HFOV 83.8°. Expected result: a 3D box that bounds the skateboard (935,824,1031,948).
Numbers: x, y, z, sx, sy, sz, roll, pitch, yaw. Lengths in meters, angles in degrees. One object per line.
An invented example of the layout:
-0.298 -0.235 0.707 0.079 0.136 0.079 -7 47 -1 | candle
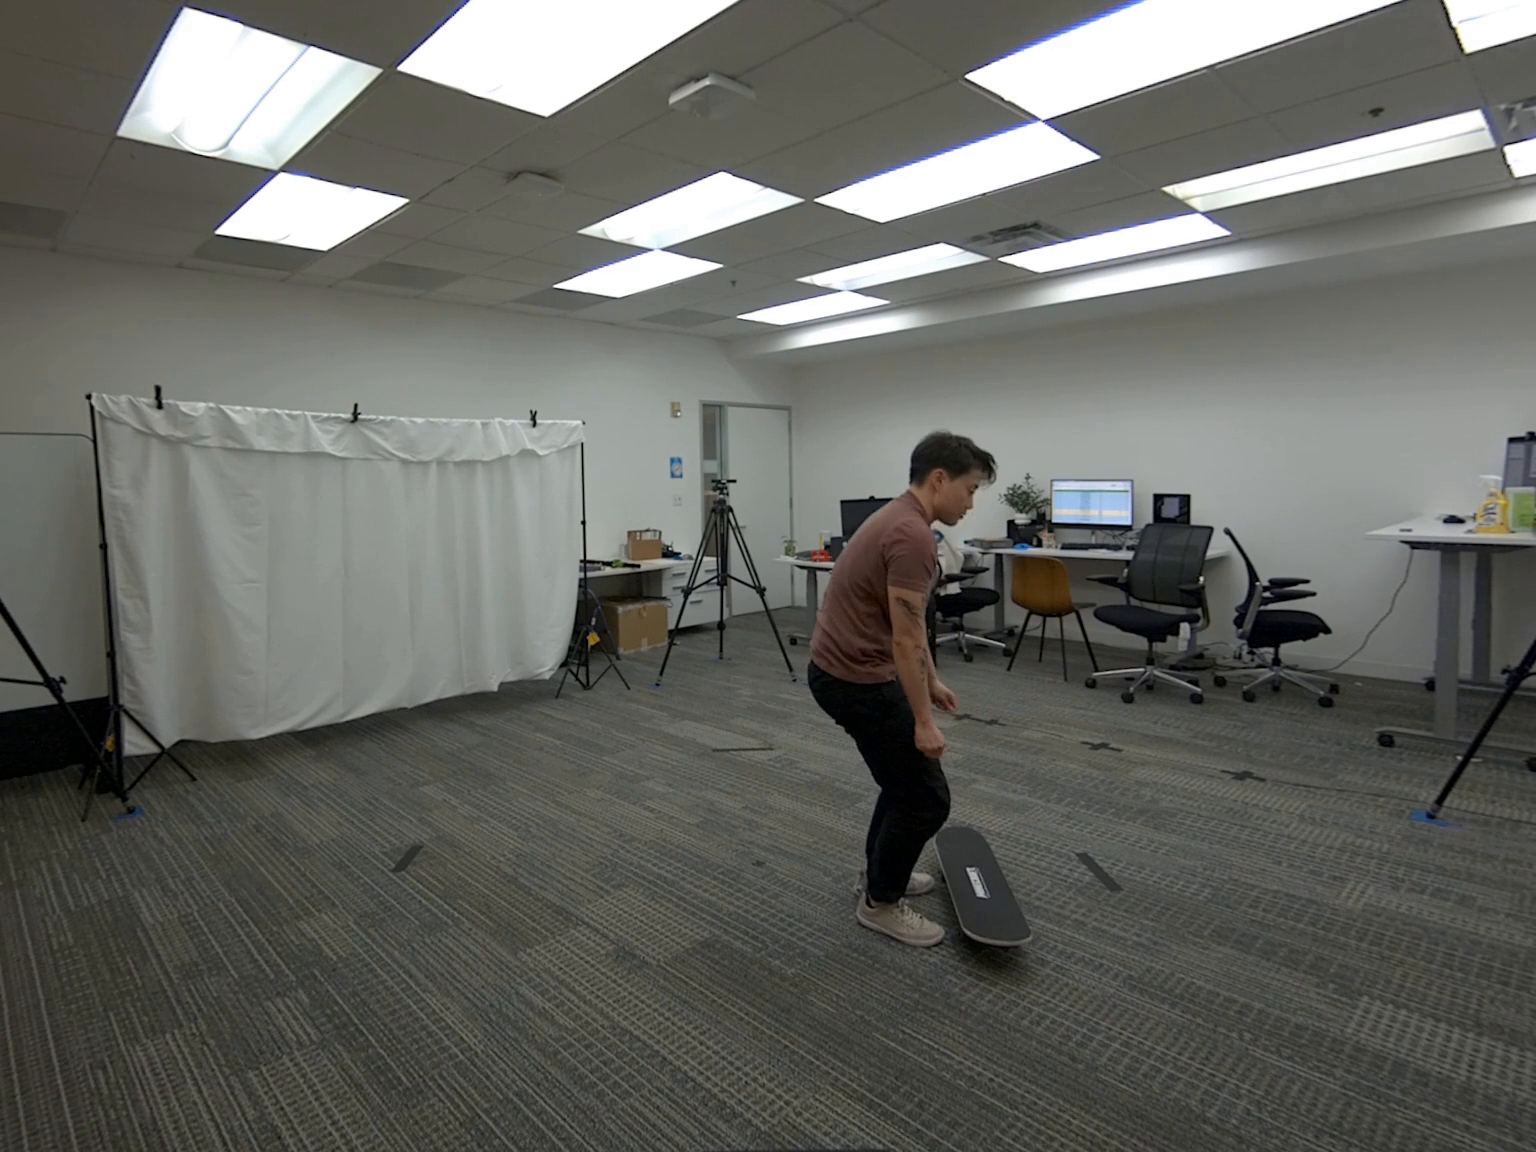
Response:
0.673 1.016 2.754 0.194 0.110 0.787 -2 7 3 | skateboard
